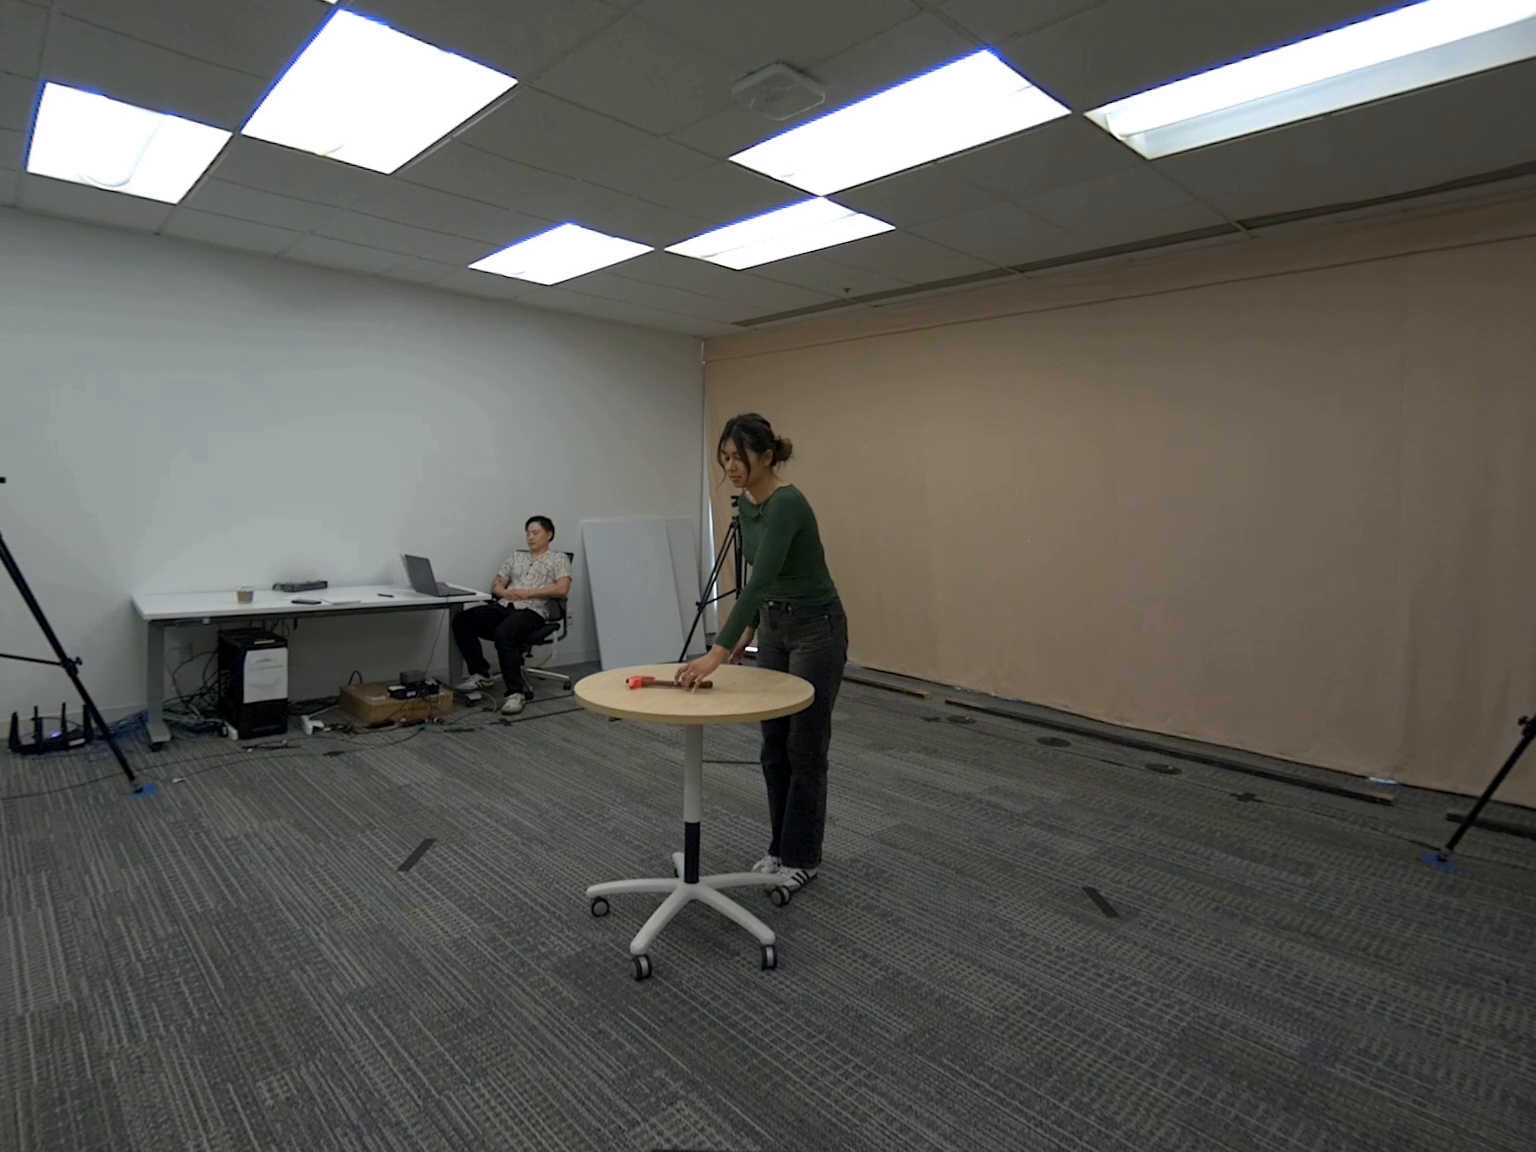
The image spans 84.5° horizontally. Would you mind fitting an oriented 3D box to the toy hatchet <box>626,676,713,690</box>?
[{"bbox_3d":[-0.326,0.344,2.695,0.267,0.029,0.132,1,3,-13],"label":"toy hatchet"}]
